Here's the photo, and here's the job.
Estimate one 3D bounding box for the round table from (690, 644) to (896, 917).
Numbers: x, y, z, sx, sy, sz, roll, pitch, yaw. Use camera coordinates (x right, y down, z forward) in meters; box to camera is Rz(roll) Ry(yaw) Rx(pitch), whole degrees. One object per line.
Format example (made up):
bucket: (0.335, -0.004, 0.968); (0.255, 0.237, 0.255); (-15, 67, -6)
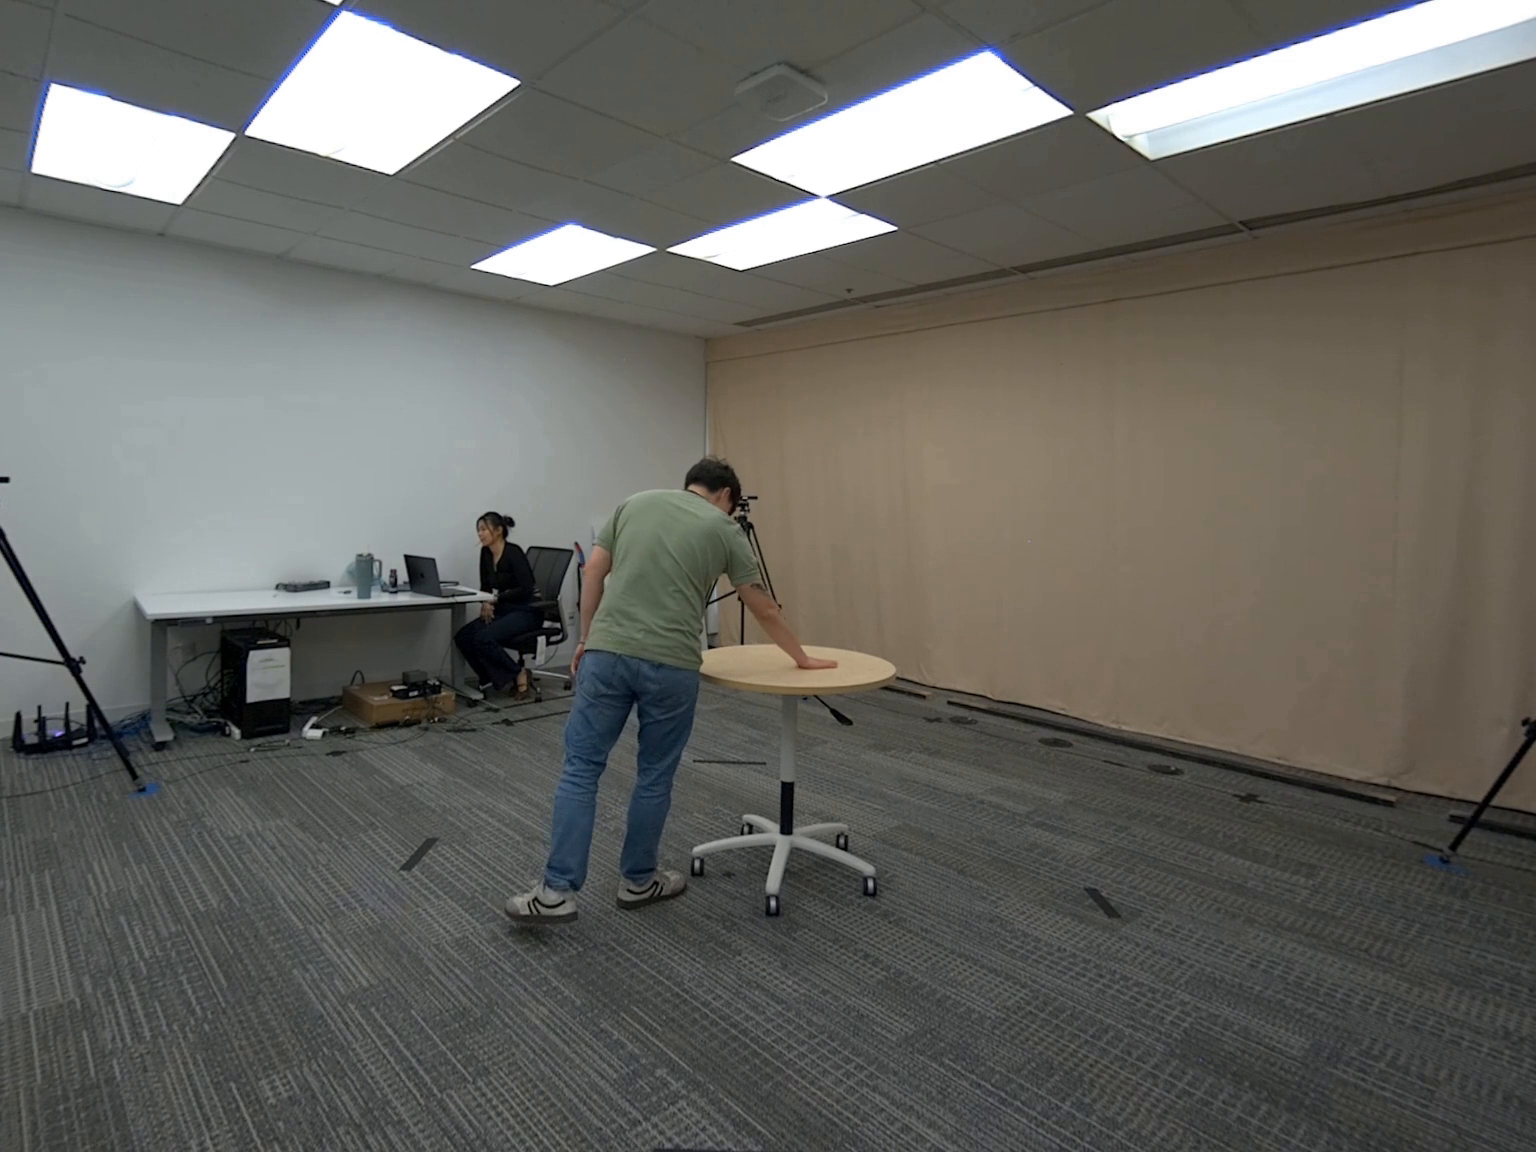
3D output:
round table: (0.070, 0.717, 3.135); (0.763, 0.792, 0.767); (1, 4, -1)
